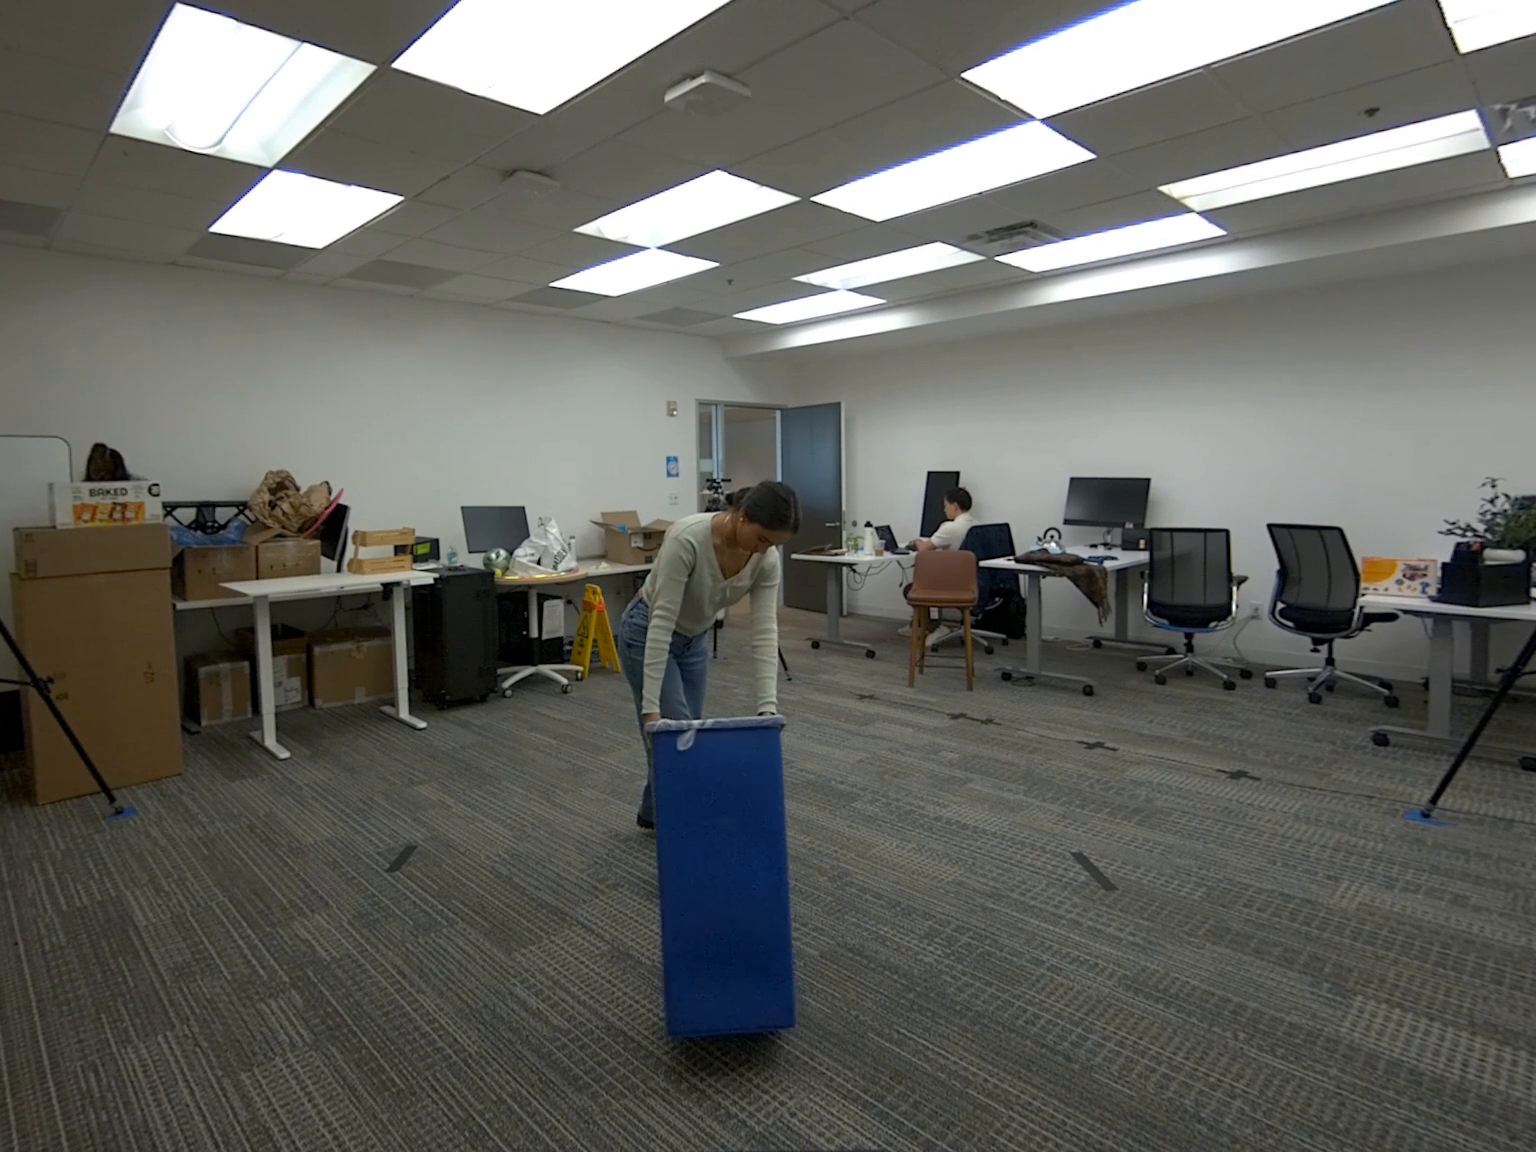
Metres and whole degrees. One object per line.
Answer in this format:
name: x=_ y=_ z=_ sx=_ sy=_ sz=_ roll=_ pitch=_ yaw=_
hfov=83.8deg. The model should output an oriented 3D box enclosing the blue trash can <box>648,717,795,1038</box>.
blue trash can: x=-0.111 y=0.764 z=2.253 sx=0.376 sy=0.727 sz=0.369 roll=-1 pitch=-19 yaw=-5
